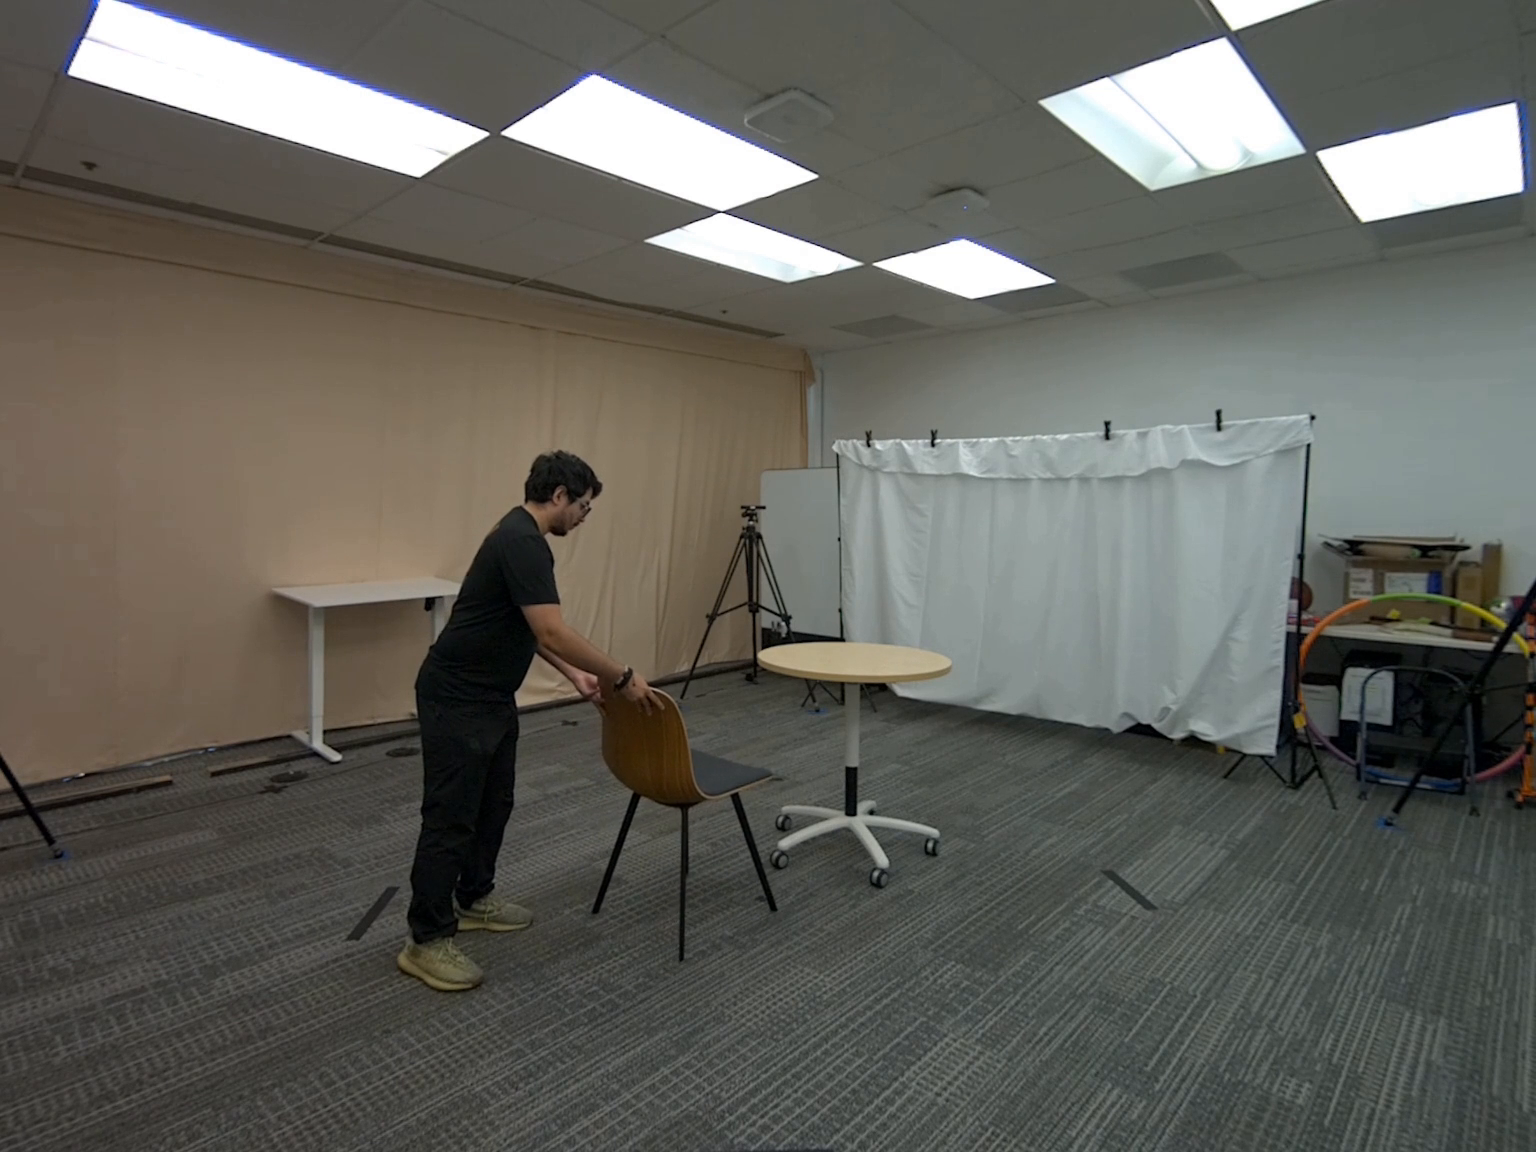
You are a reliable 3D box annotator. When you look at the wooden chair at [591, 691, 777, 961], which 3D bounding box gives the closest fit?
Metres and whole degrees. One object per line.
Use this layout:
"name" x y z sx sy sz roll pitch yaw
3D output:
"wooden chair" -0.278 0.729 2.862 0.494 0.873 0.508 3 9 42
